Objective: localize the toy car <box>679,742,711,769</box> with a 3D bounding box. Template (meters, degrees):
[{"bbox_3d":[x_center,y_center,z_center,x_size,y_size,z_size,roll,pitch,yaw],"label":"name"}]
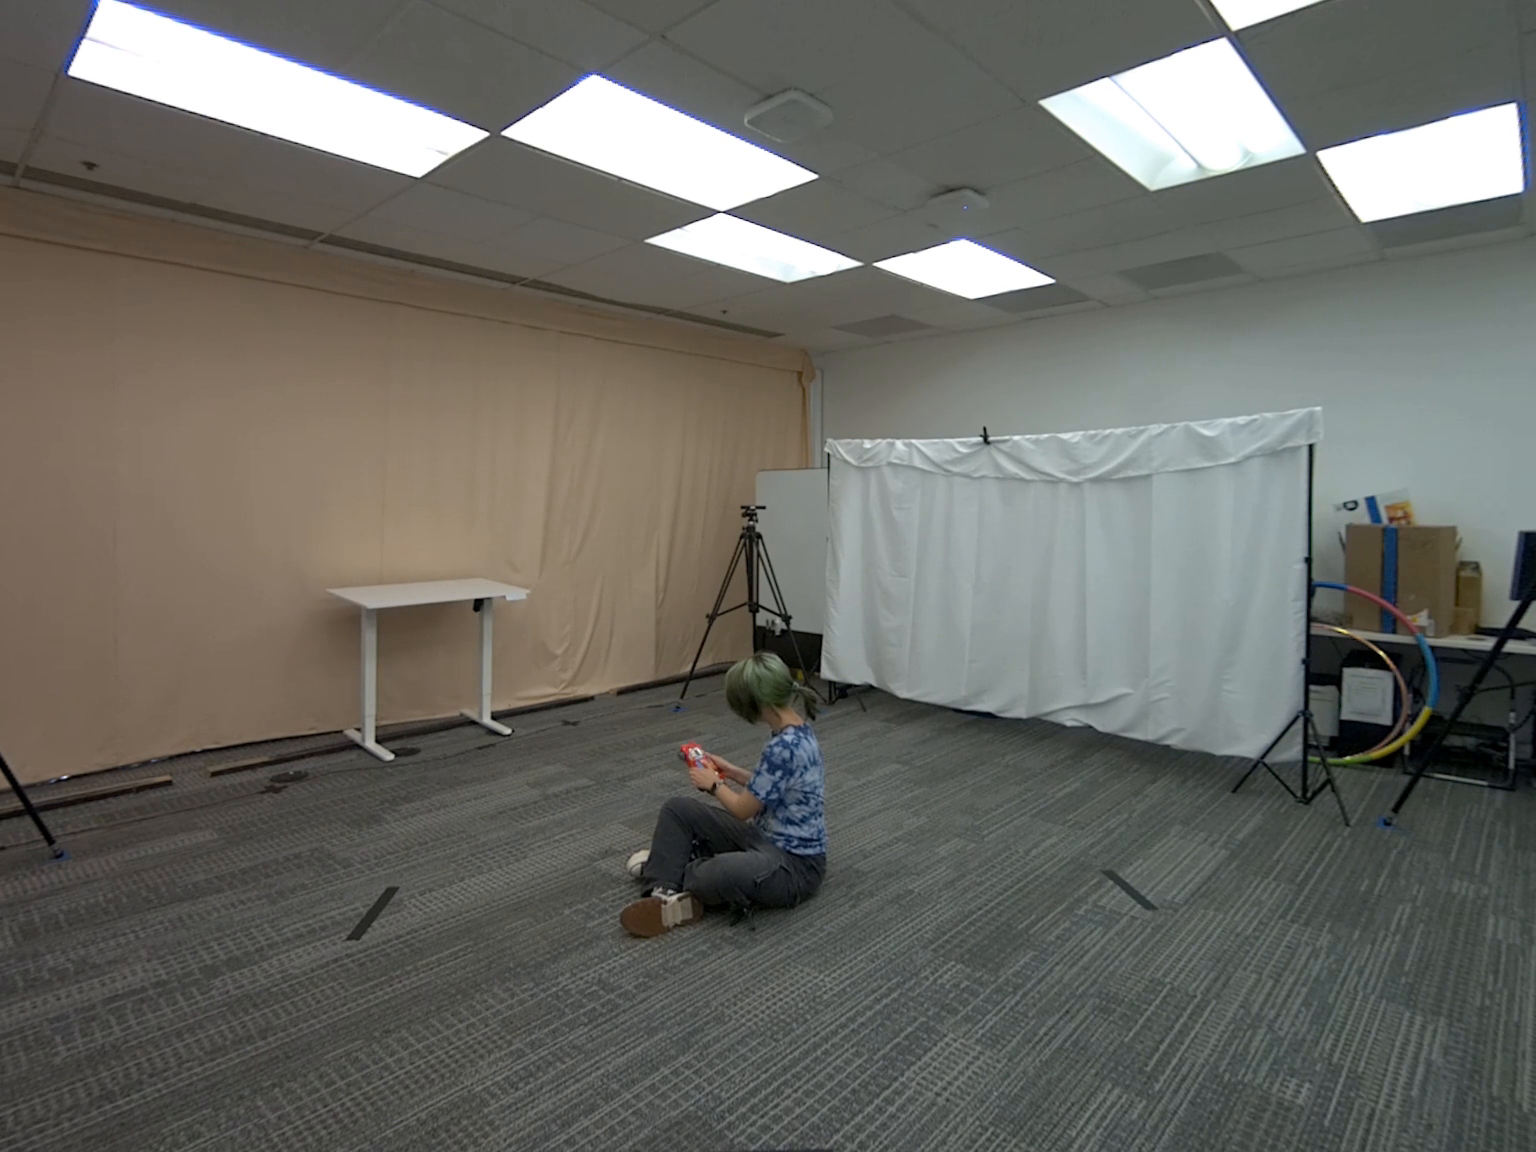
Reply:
[{"bbox_3d":[-0.248,0.784,3.348,0.263,0.083,0.126,41,24,30],"label":"toy car"}]
